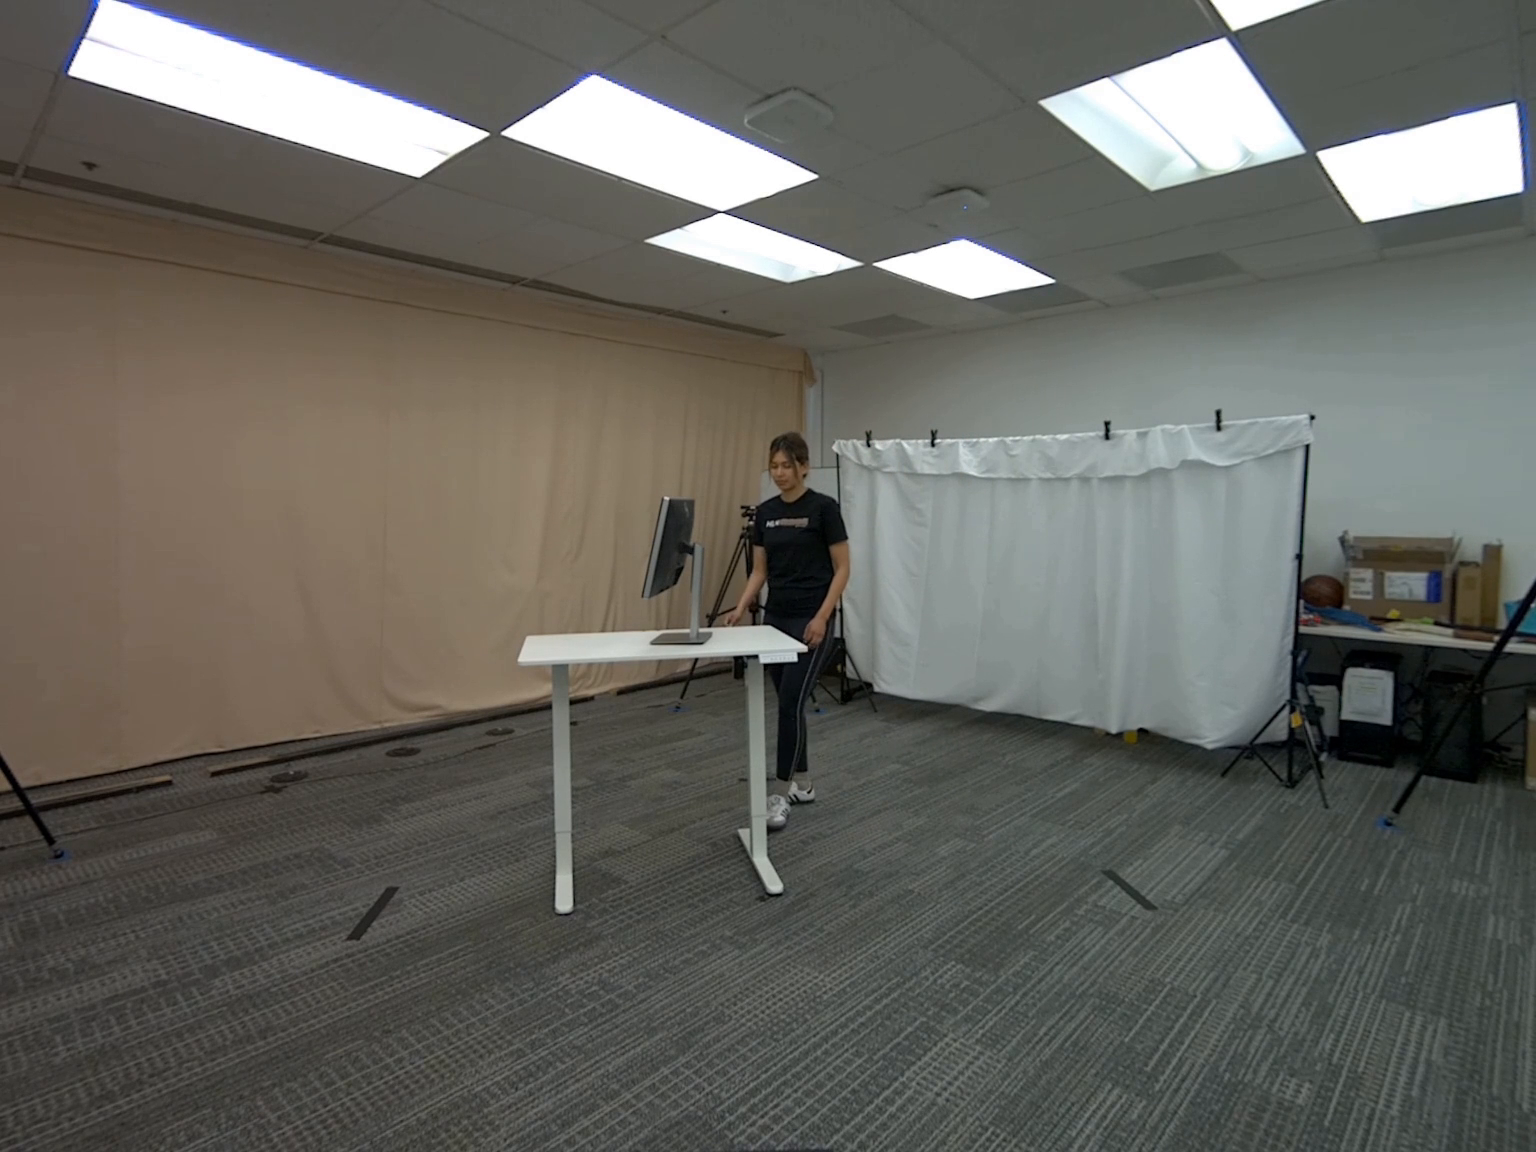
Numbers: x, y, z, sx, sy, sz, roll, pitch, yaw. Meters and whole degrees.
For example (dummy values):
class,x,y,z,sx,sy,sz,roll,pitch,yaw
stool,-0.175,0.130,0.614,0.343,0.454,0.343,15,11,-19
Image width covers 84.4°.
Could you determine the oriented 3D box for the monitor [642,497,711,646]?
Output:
class,x,y,z,sx,sy,sz,roll,pitch,yaw
monitor,-0.326,-0.017,3.185,0.188,0.521,0.539,-1,4,1
